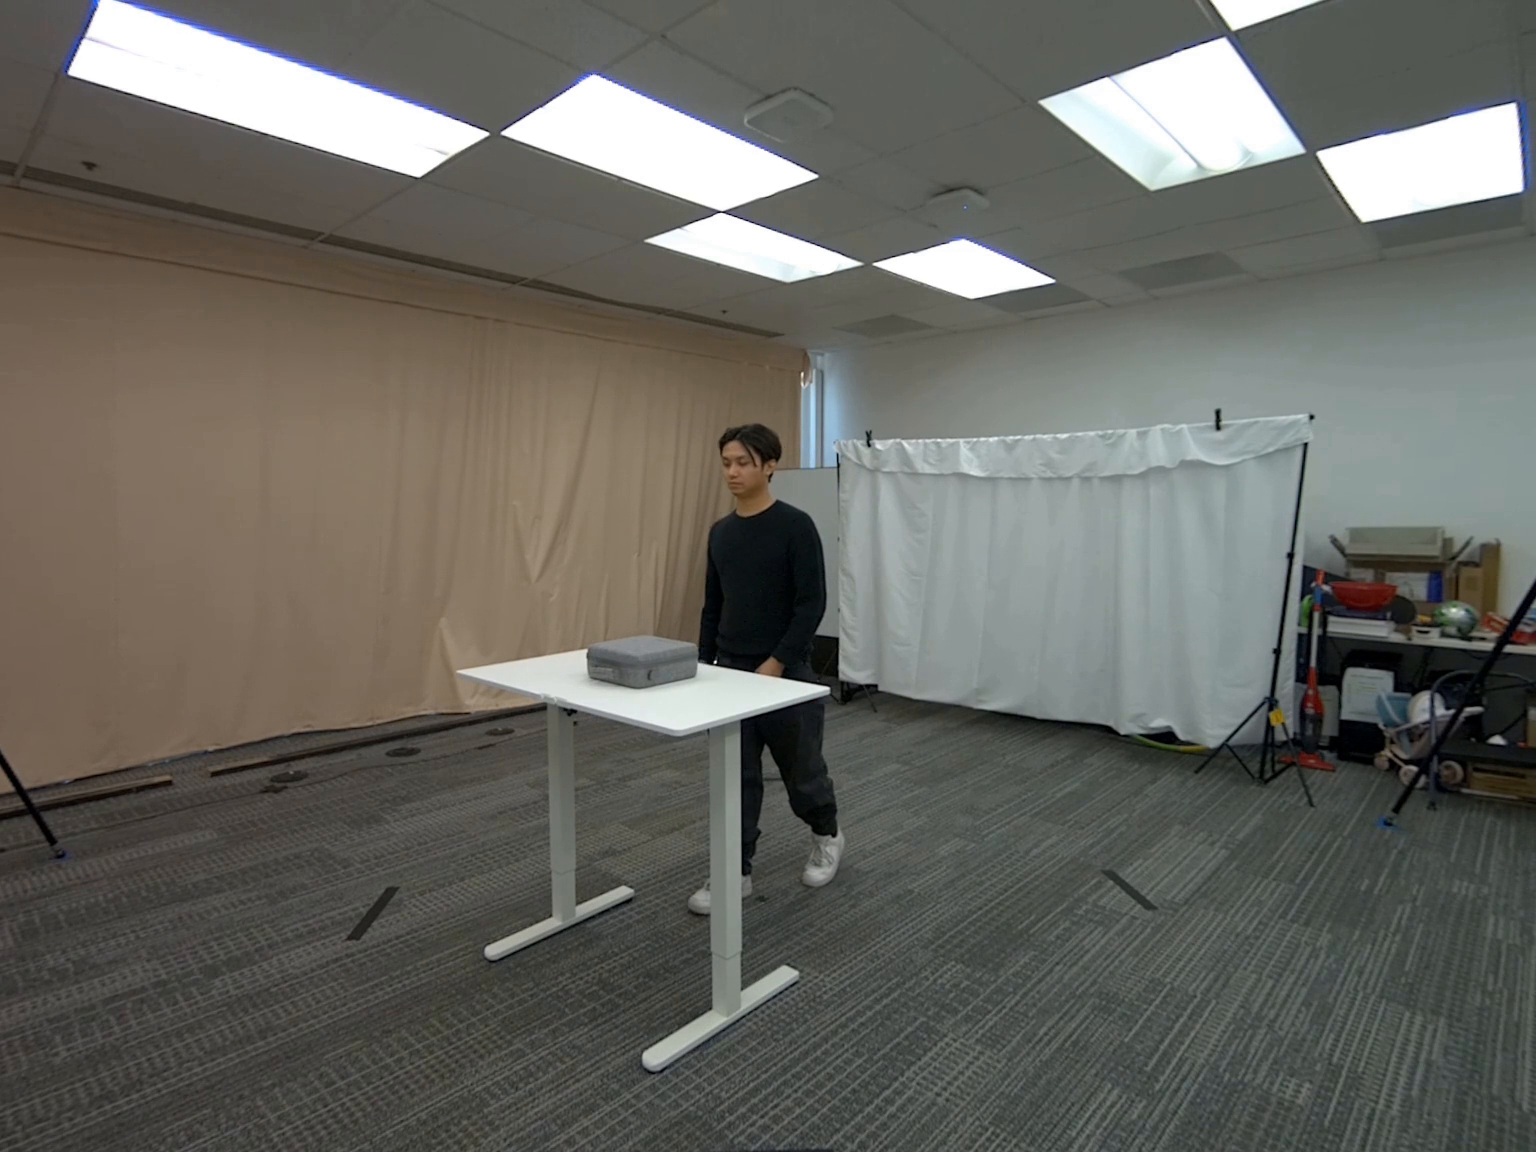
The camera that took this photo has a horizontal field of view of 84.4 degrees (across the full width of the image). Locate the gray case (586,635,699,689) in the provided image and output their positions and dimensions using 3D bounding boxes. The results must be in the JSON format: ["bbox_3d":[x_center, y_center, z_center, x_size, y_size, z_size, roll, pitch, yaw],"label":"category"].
[{"bbox_3d":[-0.374,0.253,2.501,0.266,0.104,0.253,6,9,42],"label":"gray case"}]
